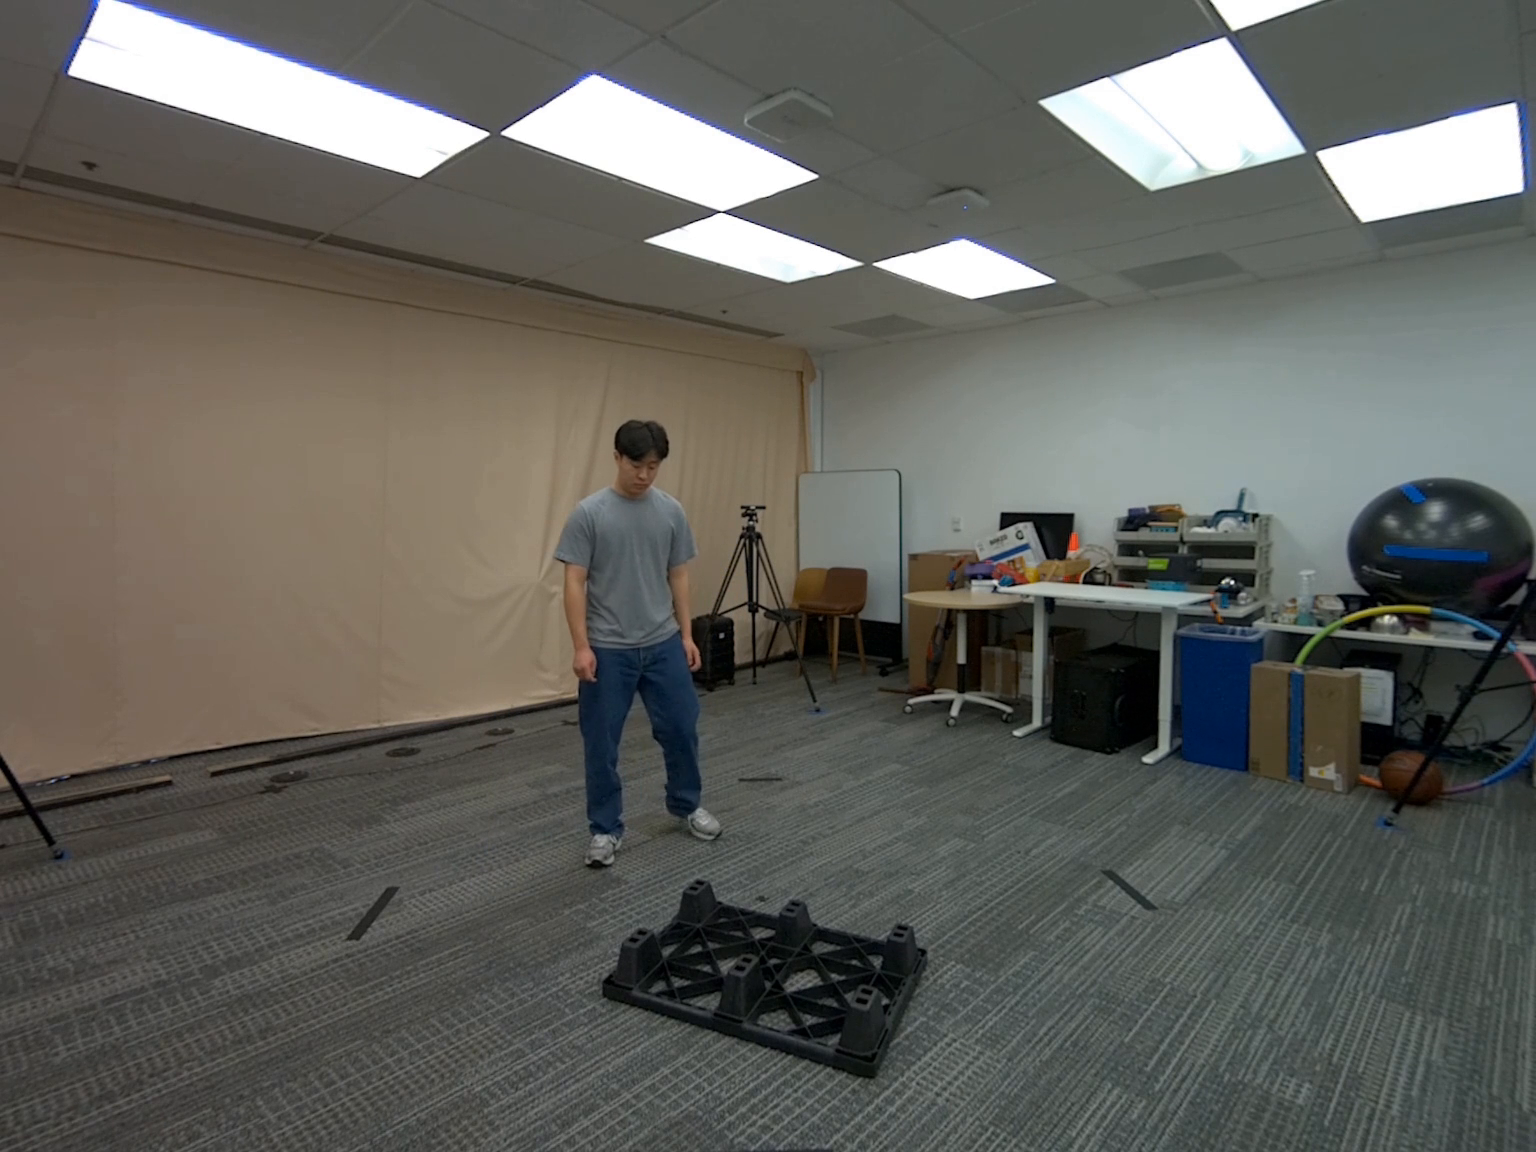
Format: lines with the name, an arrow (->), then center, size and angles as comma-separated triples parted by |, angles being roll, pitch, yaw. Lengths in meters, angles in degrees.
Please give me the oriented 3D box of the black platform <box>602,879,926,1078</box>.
black platform -> 0.006, 1.119, 2.472 | 0.826, 0.143, 0.591 | 2, 5, 25
